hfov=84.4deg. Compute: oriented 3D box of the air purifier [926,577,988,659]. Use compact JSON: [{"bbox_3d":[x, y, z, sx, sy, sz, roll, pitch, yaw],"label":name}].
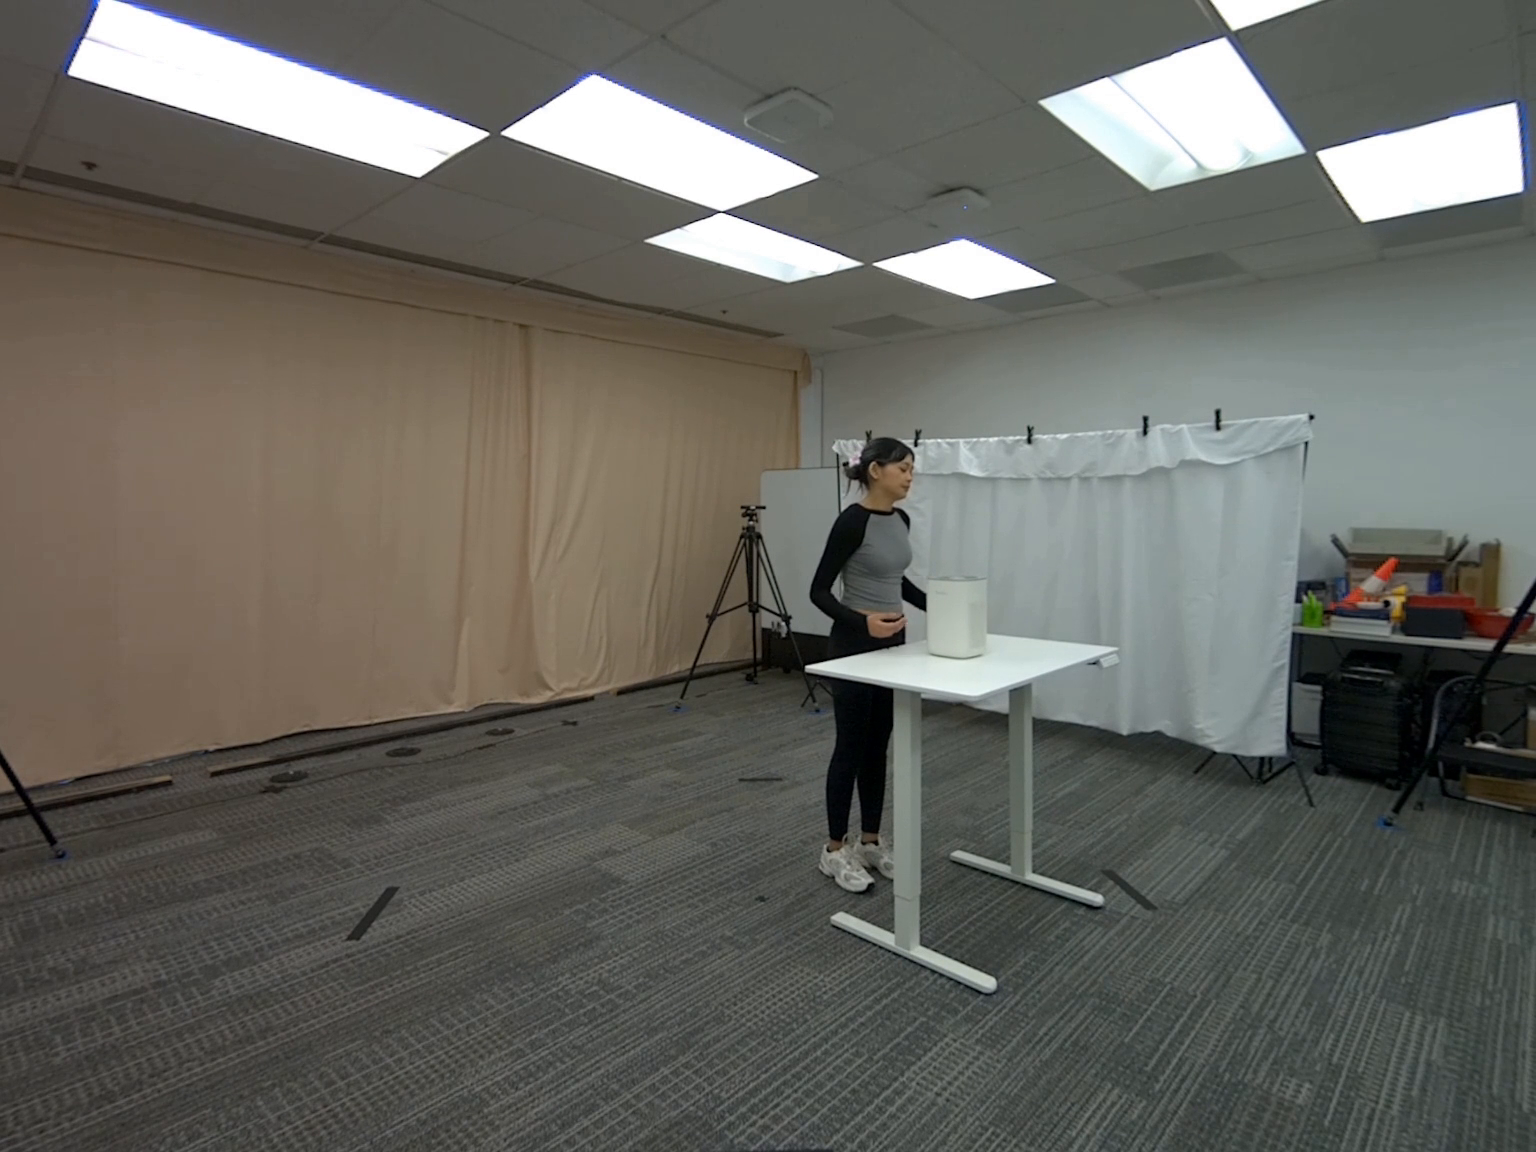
[{"bbox_3d":[0.638,0.135,2.868,0.166,0.265,0.177,-4,5,-43],"label":"air purifier"}]
